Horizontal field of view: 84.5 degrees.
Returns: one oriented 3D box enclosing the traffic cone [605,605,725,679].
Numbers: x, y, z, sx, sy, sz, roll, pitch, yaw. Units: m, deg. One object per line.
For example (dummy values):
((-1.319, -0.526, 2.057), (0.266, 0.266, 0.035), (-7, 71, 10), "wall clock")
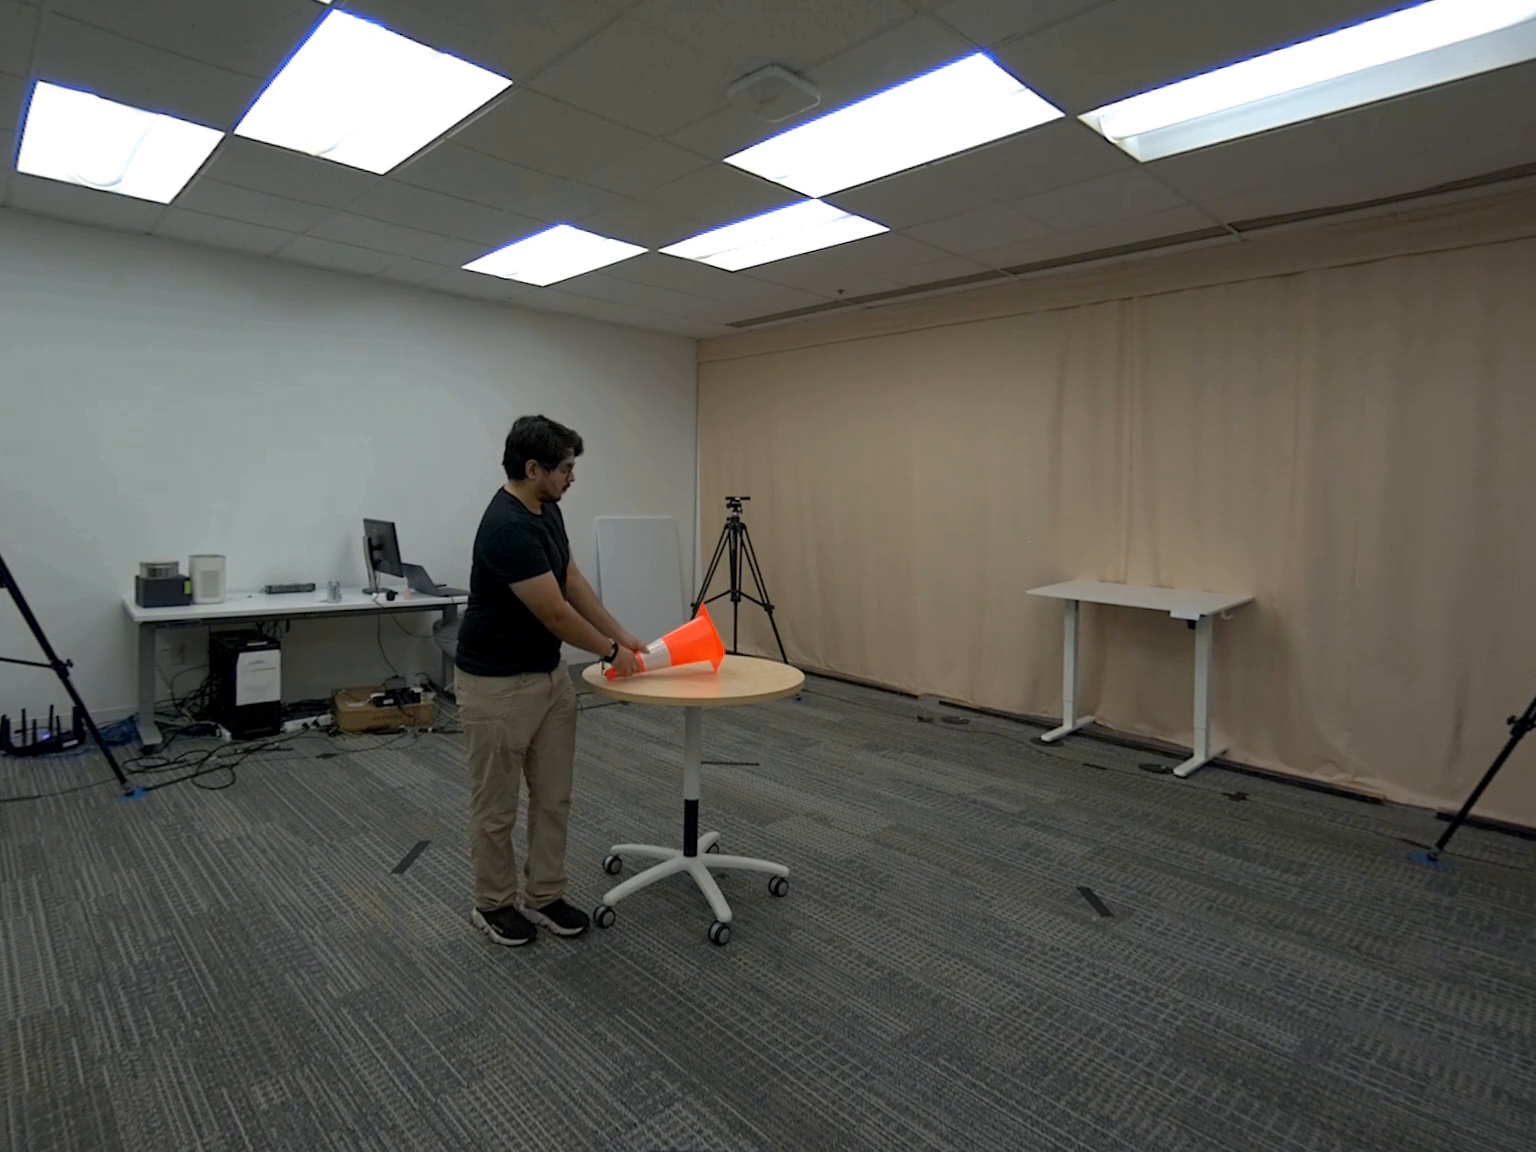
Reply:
((-0.374, 0.272, 2.845), (0.380, 0.207, 0.202), (-18, -22, -15), "traffic cone")
